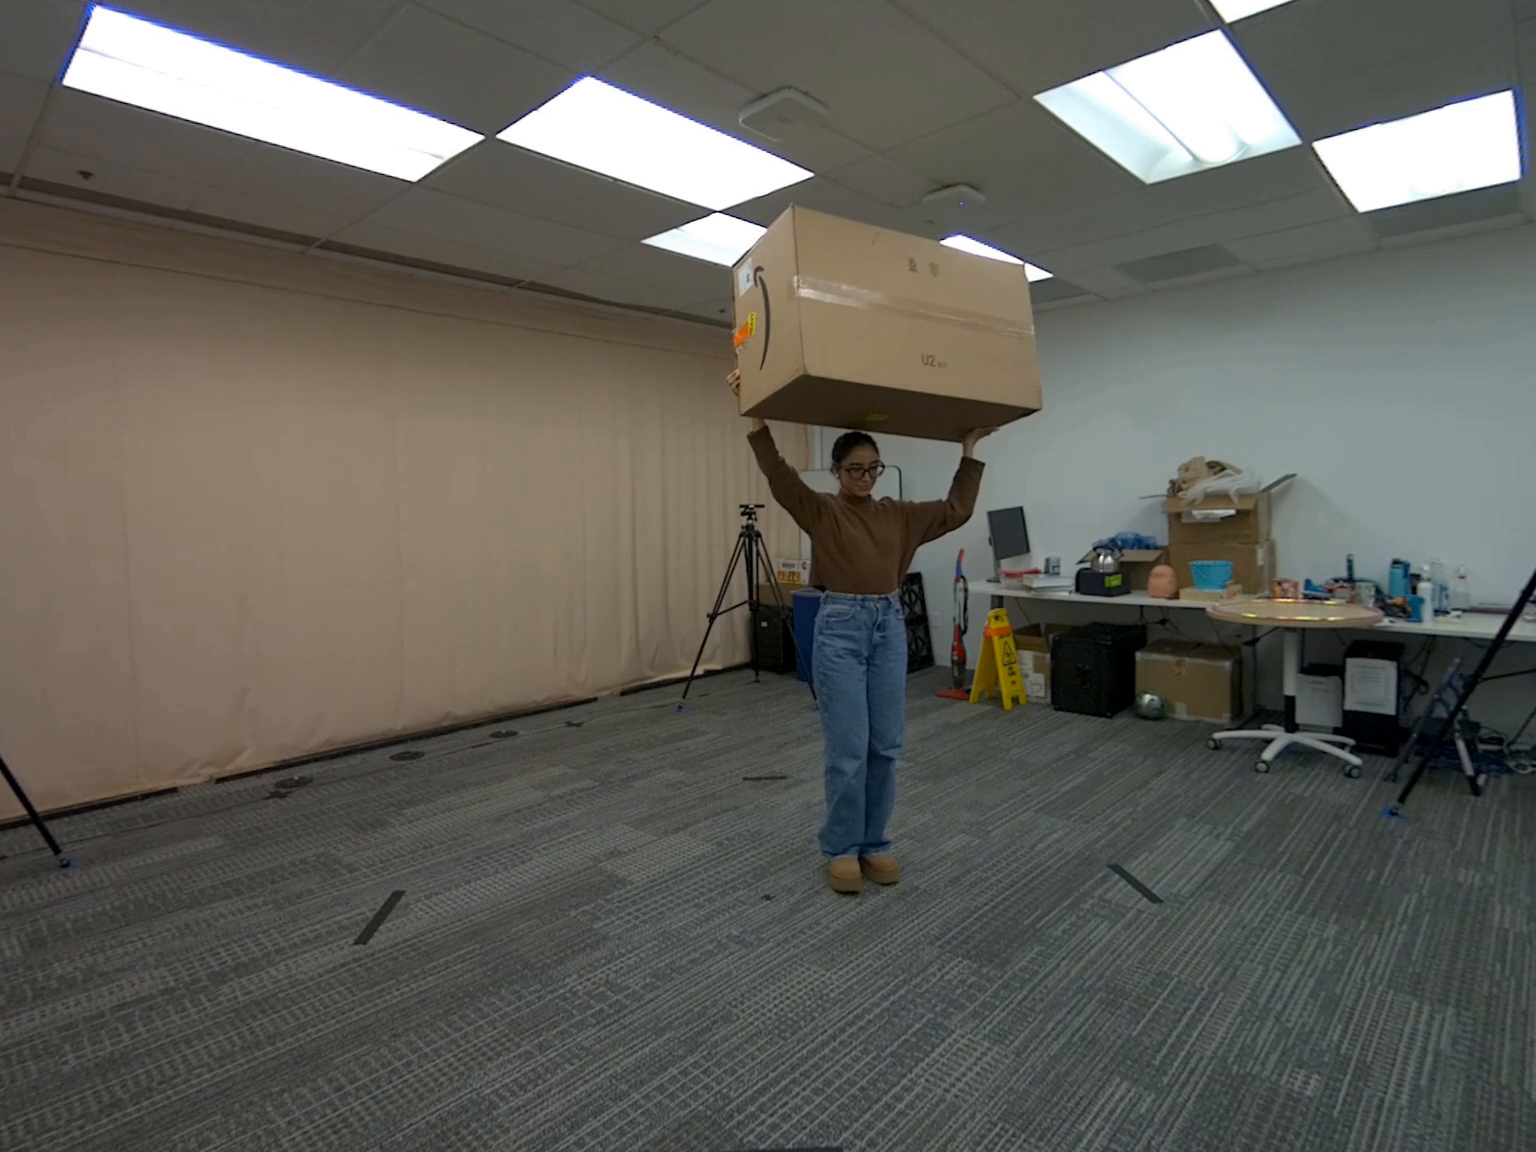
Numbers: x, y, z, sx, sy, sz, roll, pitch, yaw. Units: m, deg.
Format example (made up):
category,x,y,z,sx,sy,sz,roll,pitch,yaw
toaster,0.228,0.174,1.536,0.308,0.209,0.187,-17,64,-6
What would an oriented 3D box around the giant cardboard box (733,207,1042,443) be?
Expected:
category,x,y,z,sx,sy,sz,roll,pitch,yaw
giant cardboard box,0.429,-0.854,3.033,0.999,0.582,0.434,2,-12,-28
